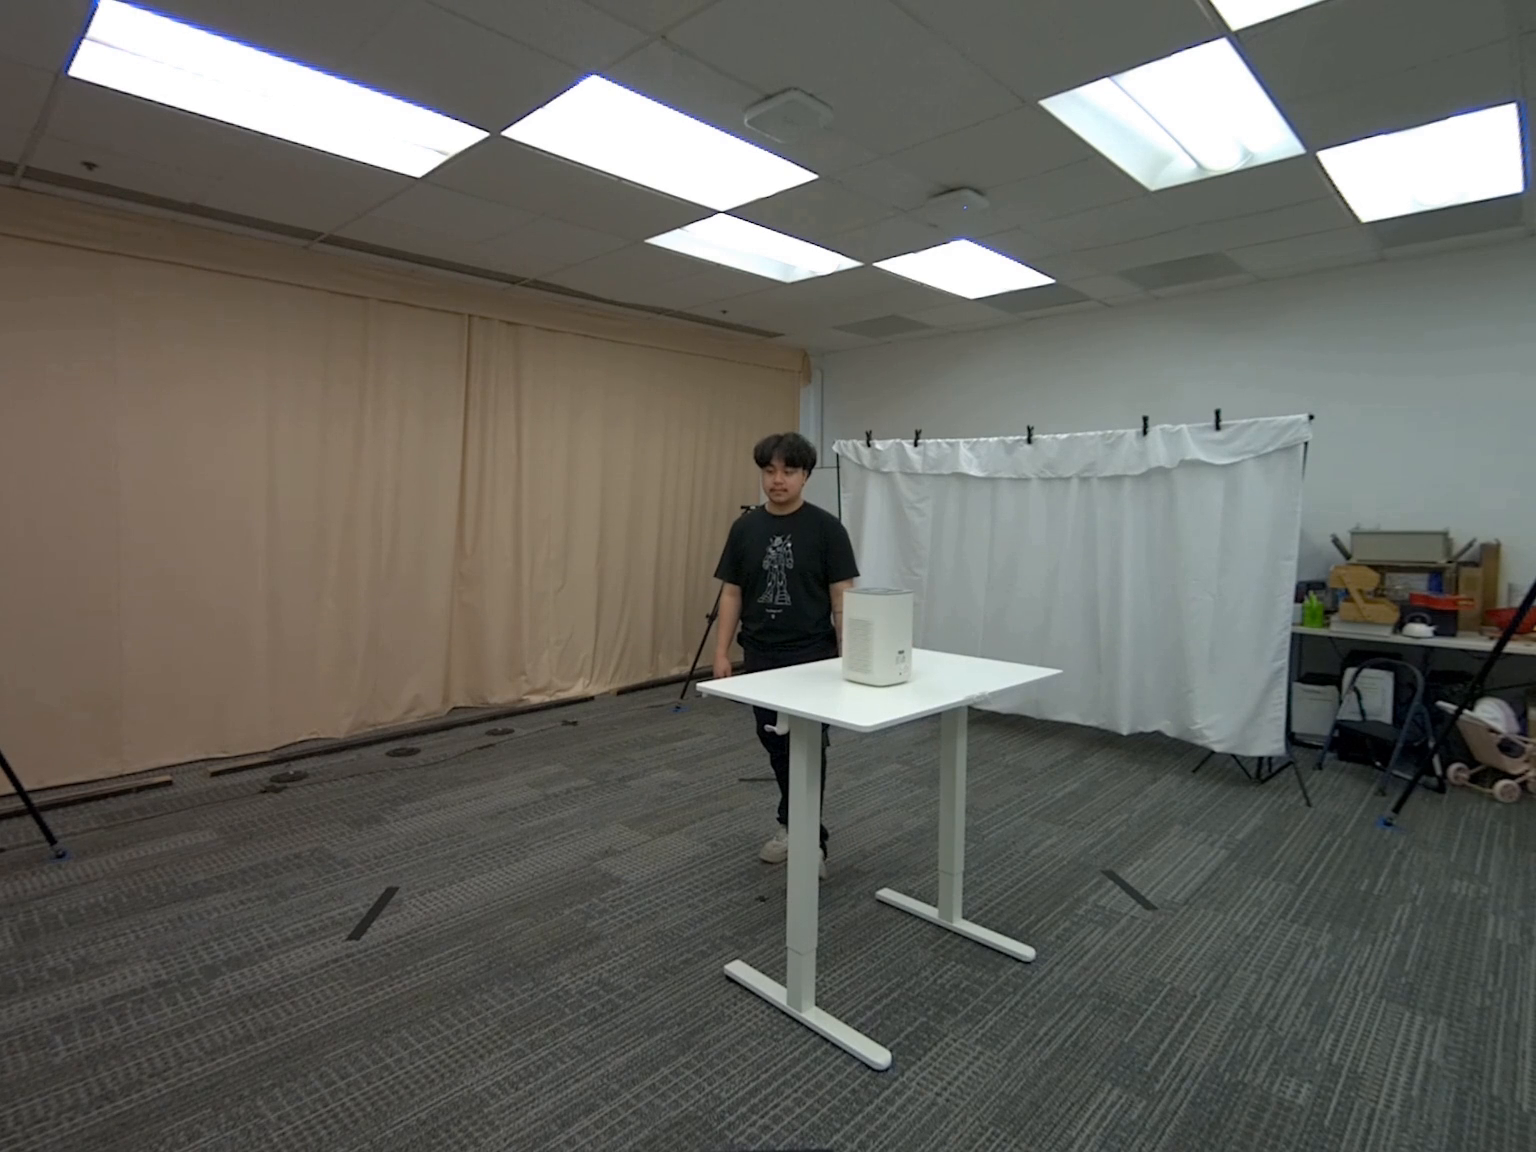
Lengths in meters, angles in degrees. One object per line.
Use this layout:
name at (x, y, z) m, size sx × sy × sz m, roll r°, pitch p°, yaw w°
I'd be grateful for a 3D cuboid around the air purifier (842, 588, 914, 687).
air purifier at (0.319, 0.175, 2.433) m, size 0.166 × 0.265 × 0.177 m, roll -2°, pitch 4°, yaw -43°
